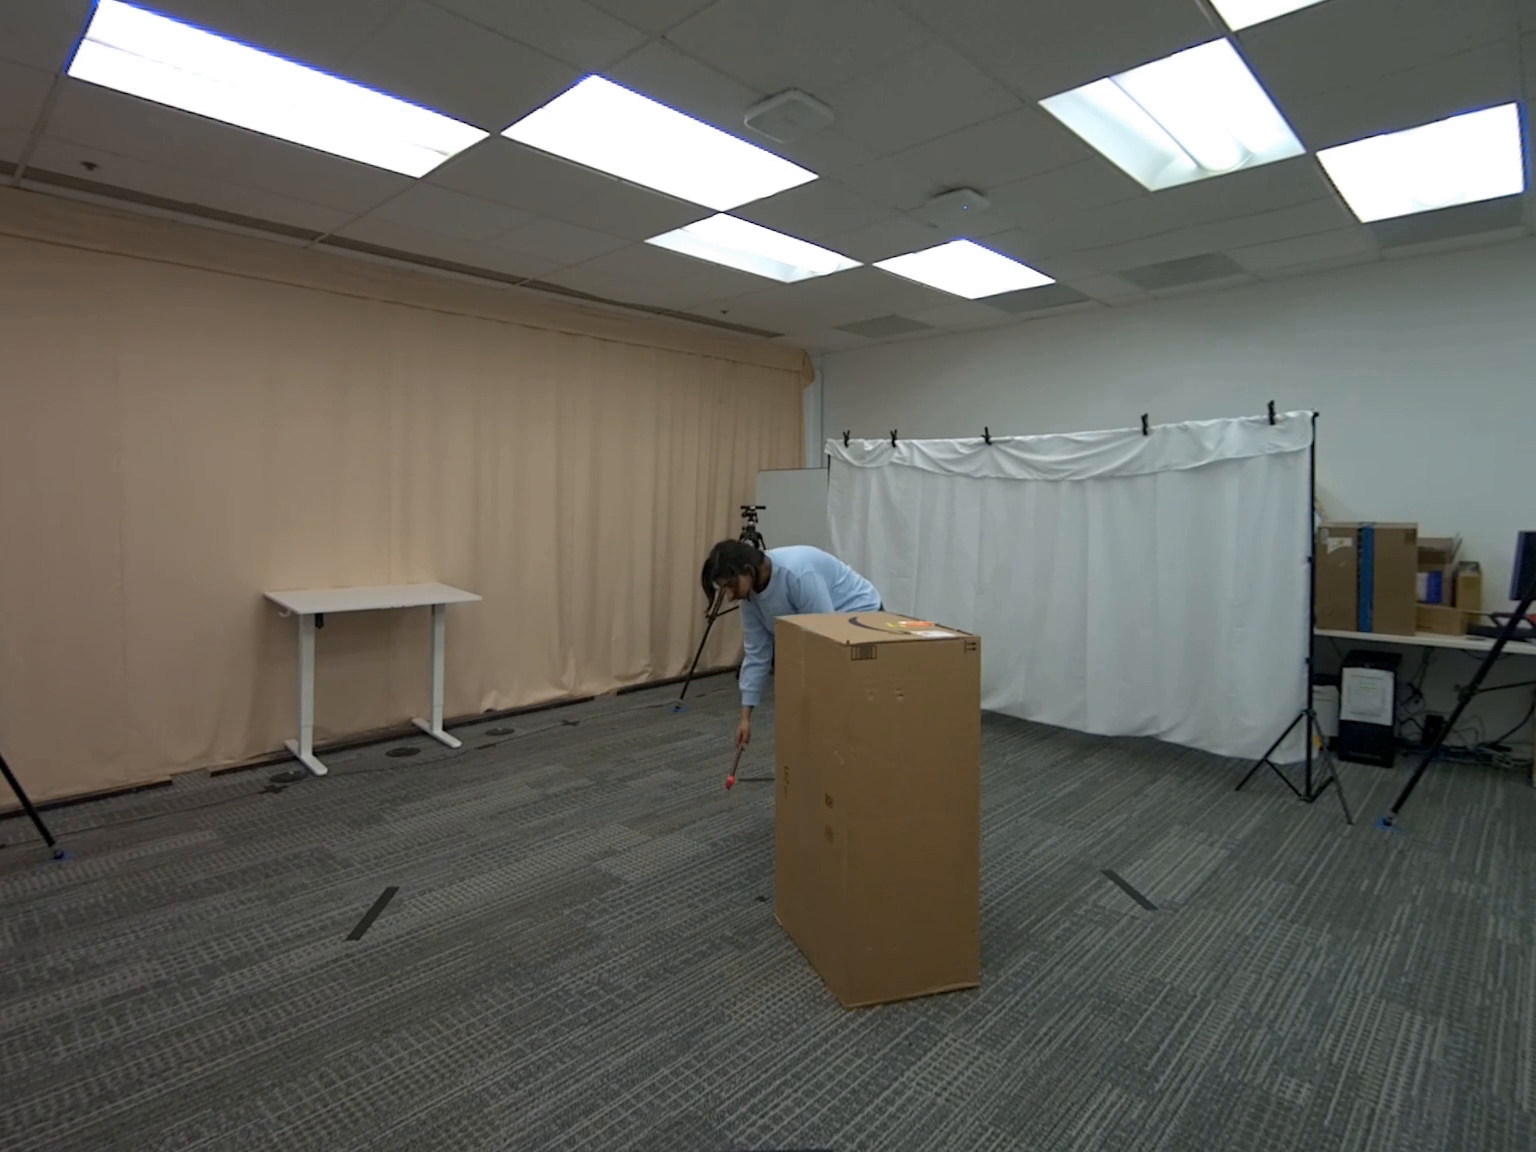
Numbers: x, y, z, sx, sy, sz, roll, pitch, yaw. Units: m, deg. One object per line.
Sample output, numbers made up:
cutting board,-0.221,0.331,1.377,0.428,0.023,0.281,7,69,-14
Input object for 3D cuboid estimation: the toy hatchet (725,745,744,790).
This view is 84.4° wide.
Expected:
toy hatchet,-0.123,0.792,3.593,0.030,0.129,0.271,19,48,5
